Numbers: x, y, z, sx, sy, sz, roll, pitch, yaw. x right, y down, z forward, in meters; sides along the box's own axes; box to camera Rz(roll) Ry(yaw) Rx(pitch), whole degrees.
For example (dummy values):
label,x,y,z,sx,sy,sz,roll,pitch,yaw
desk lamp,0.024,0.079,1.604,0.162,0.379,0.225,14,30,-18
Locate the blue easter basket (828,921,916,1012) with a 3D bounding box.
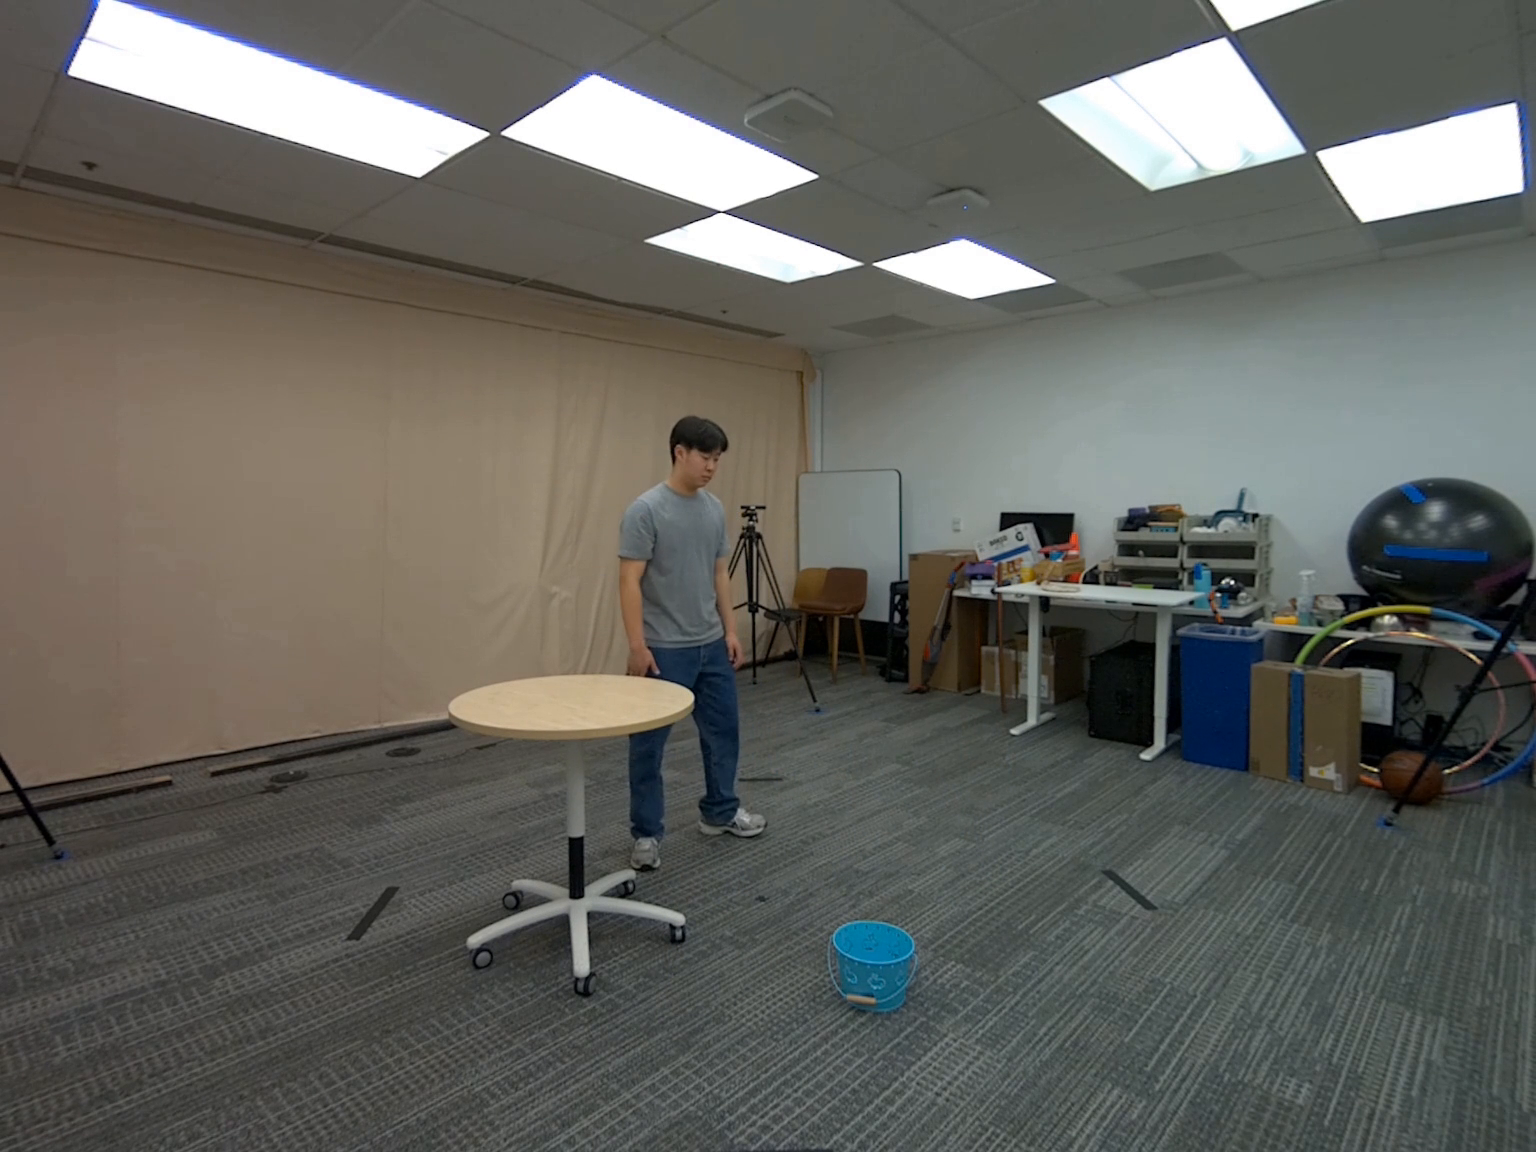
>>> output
label,x,y,z,sx,sy,sz,roll,pitch,yaw
blue easter basket,0.299,1.116,2.394,0.243,0.155,0.244,1,3,-2
